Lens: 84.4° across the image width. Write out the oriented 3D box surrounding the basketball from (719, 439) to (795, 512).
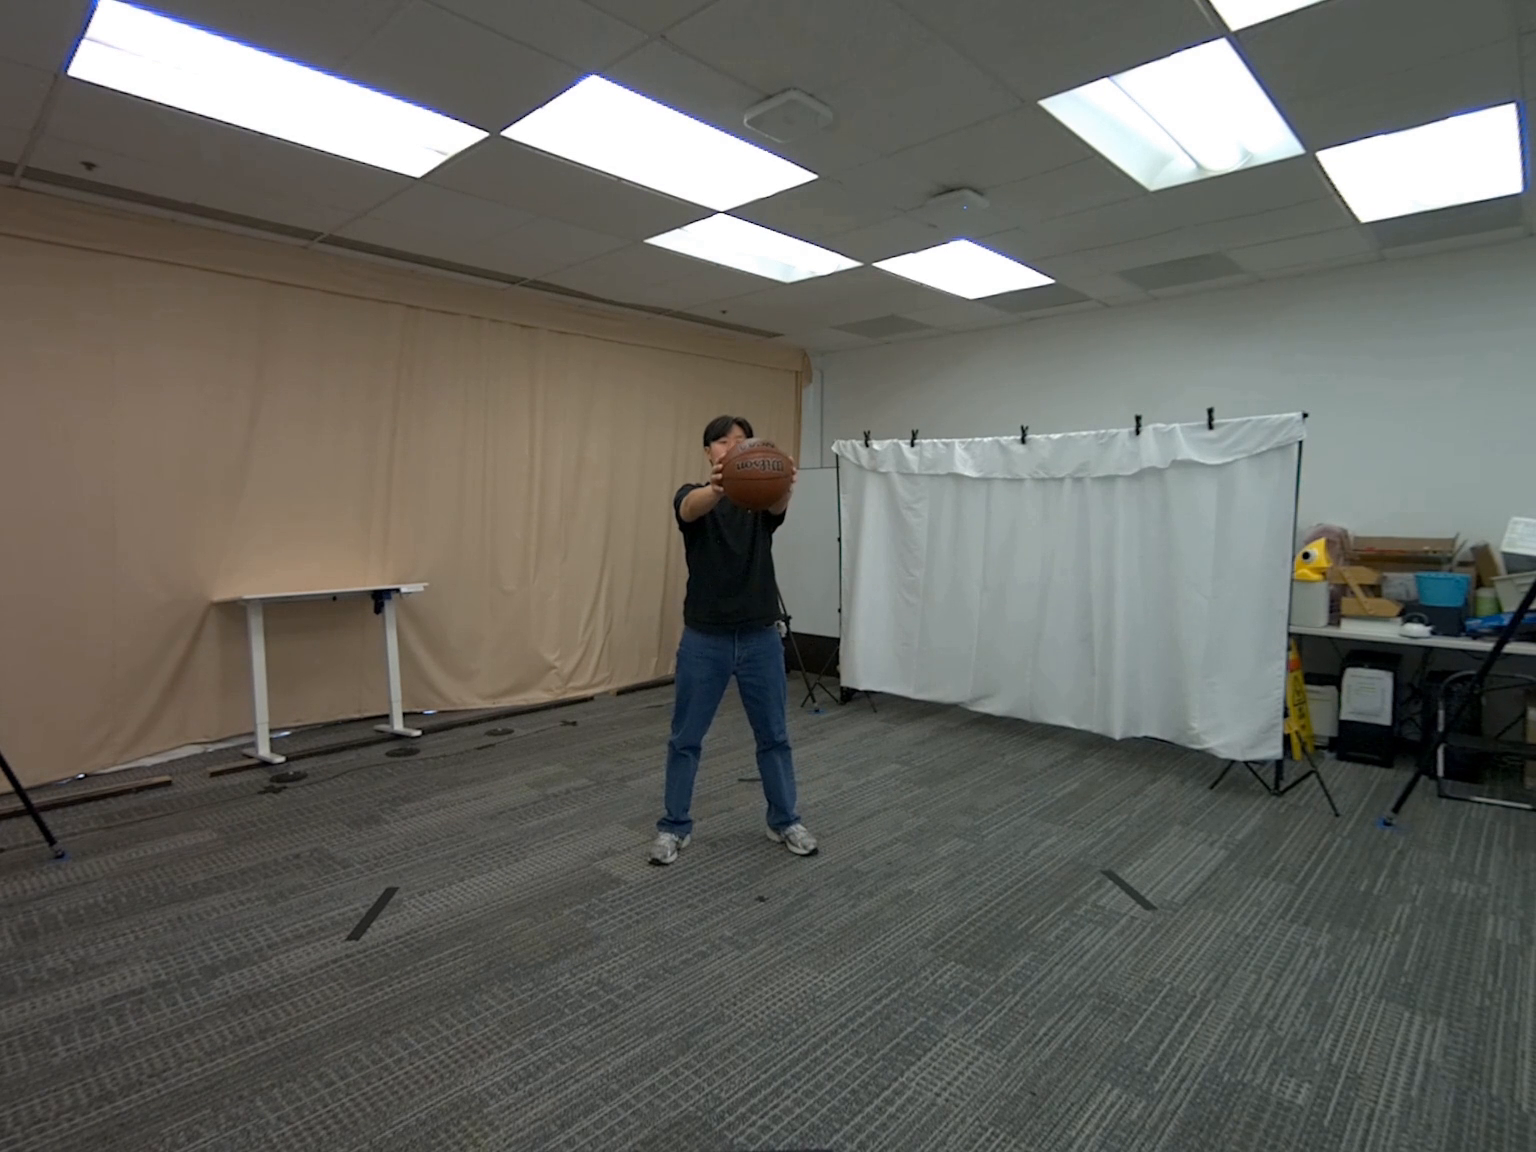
[{"bbox_3d":[-0.038,-0.327,2.756,0.236,0.235,0.237,0,4,-2],"label":"basketball"}]
